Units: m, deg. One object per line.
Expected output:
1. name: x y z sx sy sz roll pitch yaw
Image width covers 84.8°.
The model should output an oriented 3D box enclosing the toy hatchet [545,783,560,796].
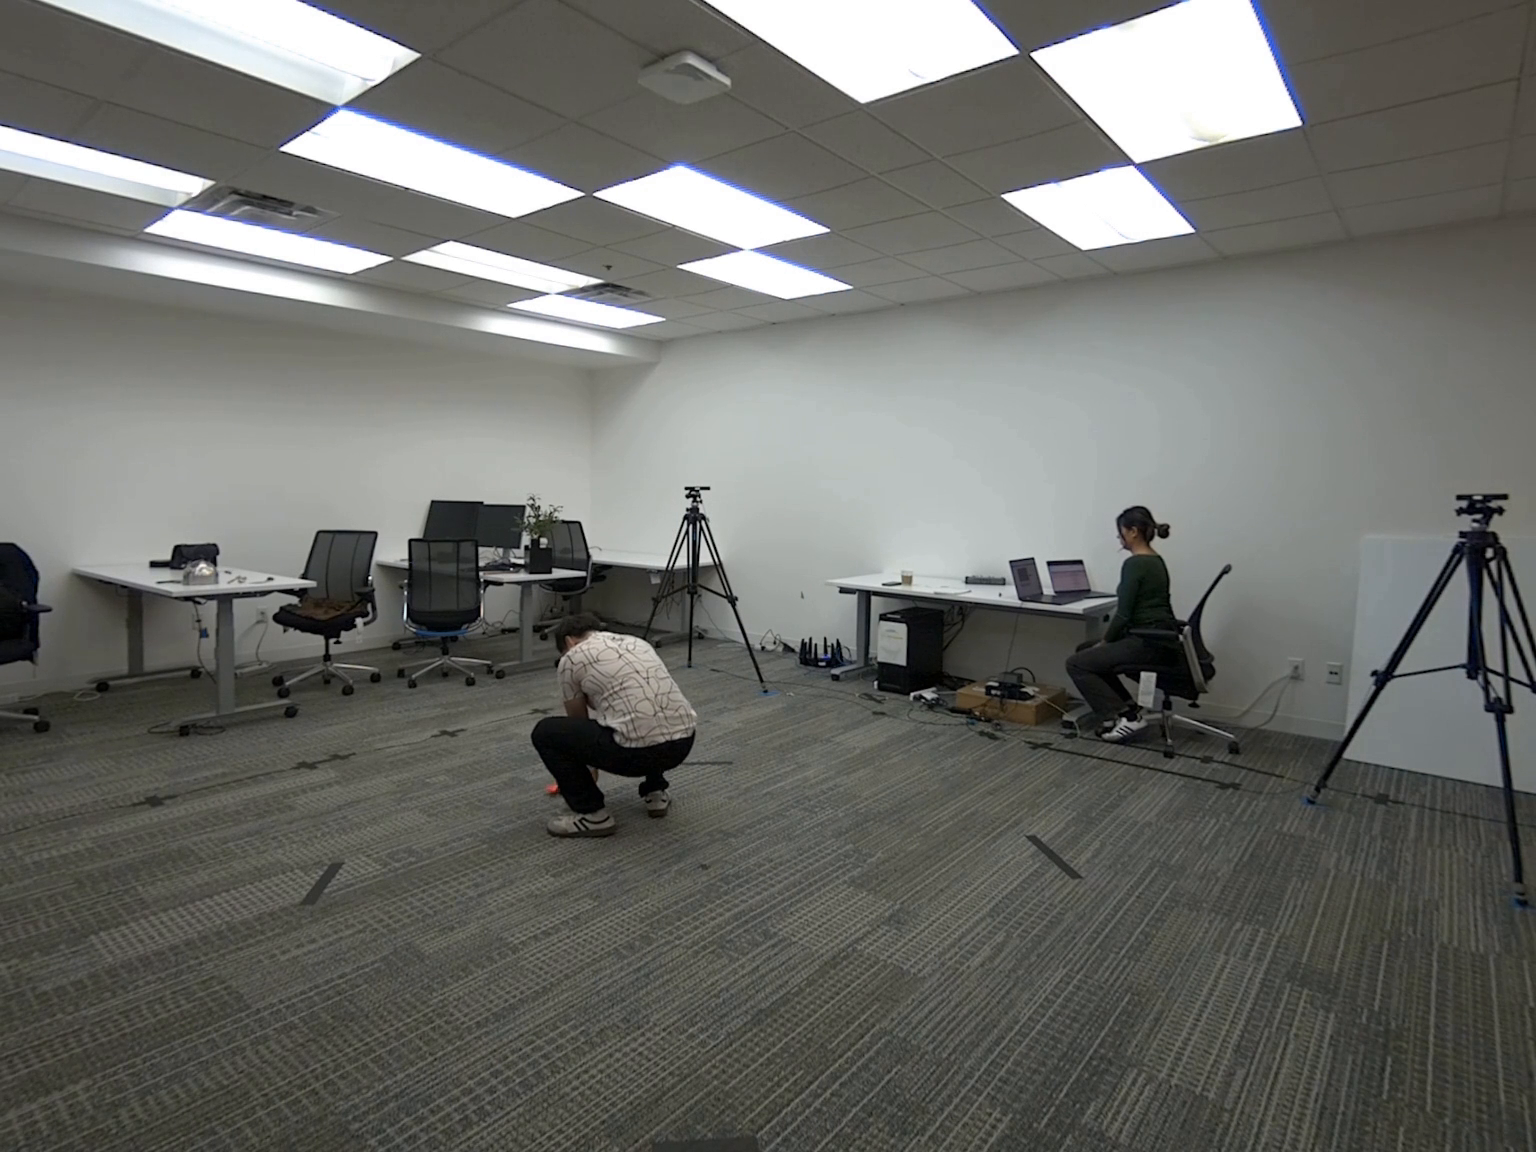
1. toy hatchet: -0.925 0.967 3.779 0.128 0.029 0.276 6 3 -21
